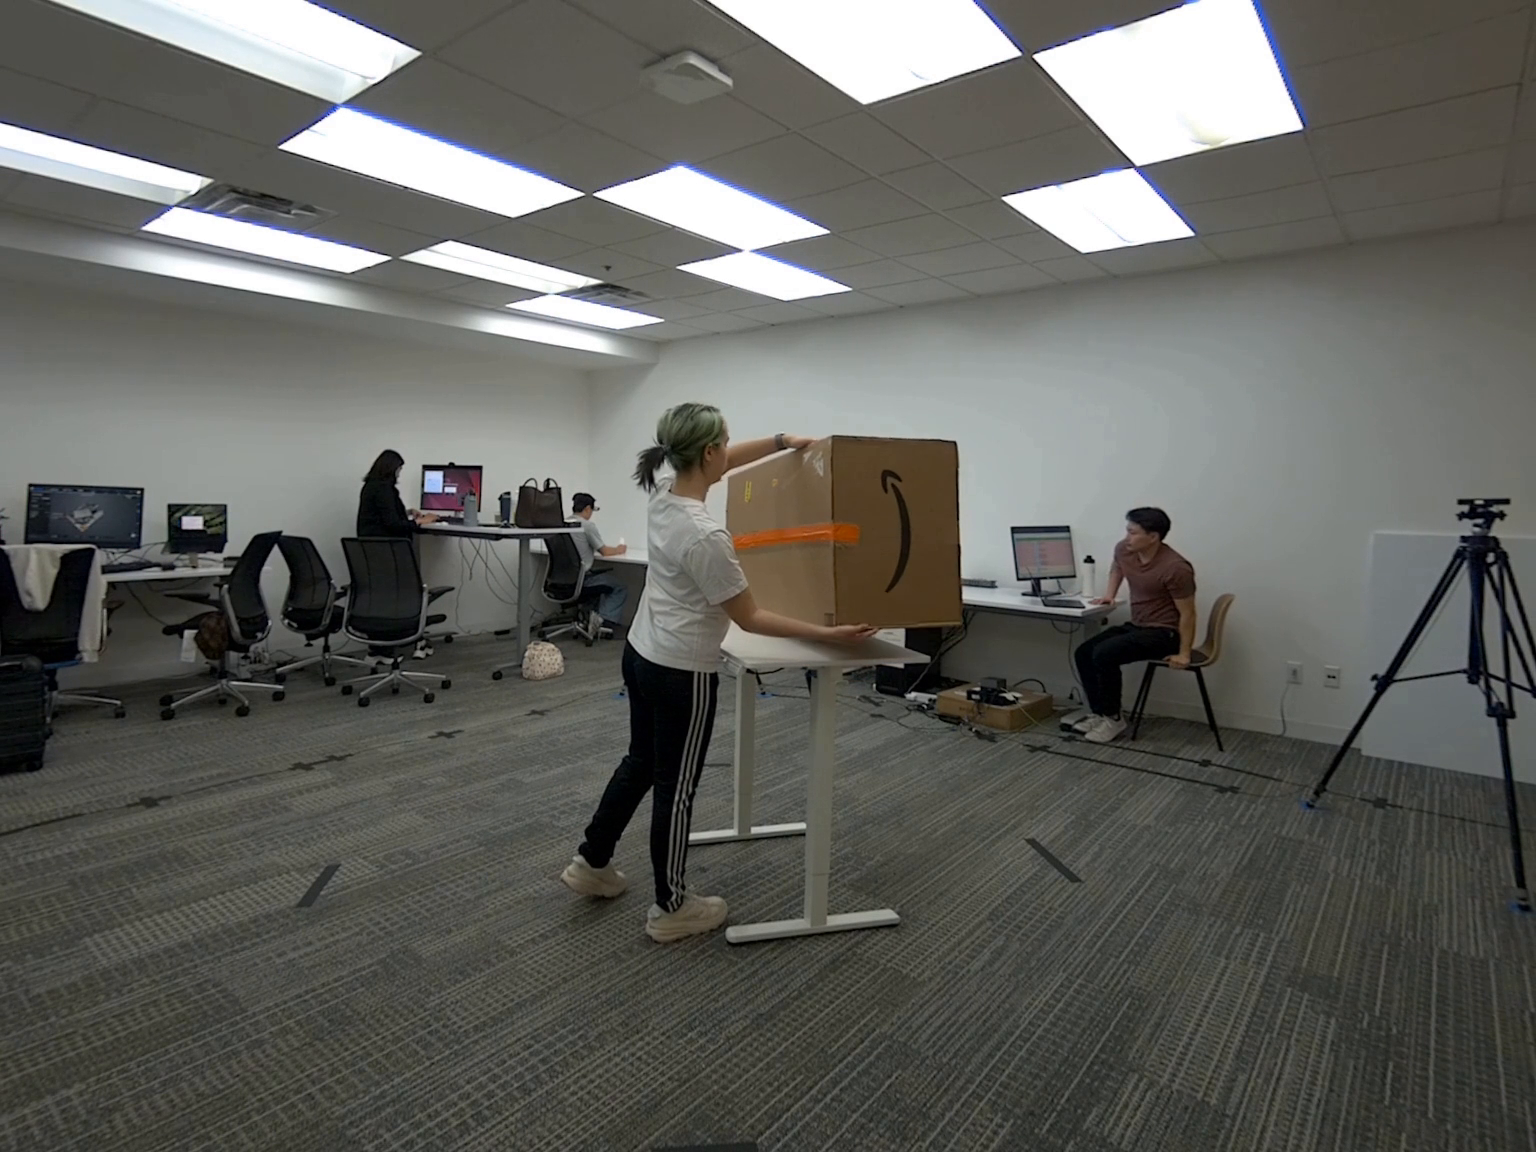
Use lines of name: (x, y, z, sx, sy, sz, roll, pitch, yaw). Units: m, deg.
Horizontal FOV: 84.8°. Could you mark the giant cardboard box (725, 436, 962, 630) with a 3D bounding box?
giant cardboard box: (0.196, -0.123, 3.037, 0.438, 0.585, 1.044, 1, -1, -19)
